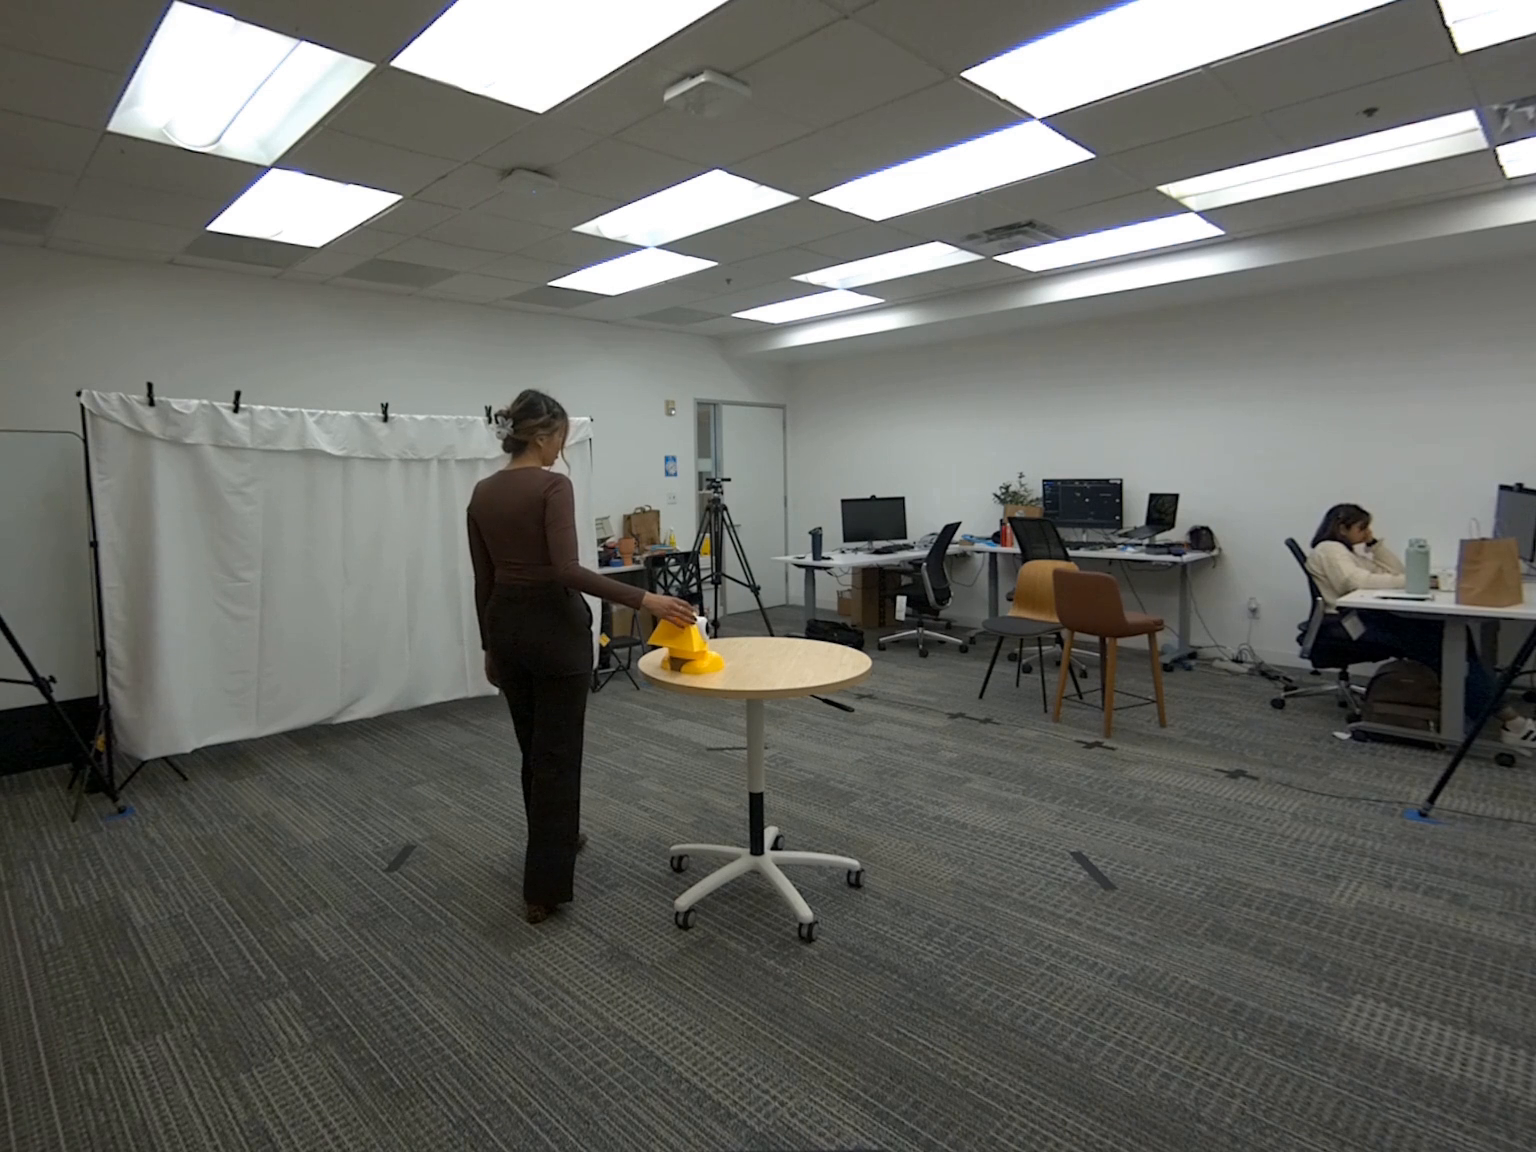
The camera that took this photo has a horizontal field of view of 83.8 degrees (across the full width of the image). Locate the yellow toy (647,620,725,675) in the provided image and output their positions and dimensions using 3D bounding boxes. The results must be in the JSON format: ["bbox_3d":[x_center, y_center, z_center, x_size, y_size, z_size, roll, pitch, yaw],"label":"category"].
[{"bbox_3d":[-0.249,0.178,2.722,0.211,0.230,0.188,3,6,39],"label":"yellow toy"}]
